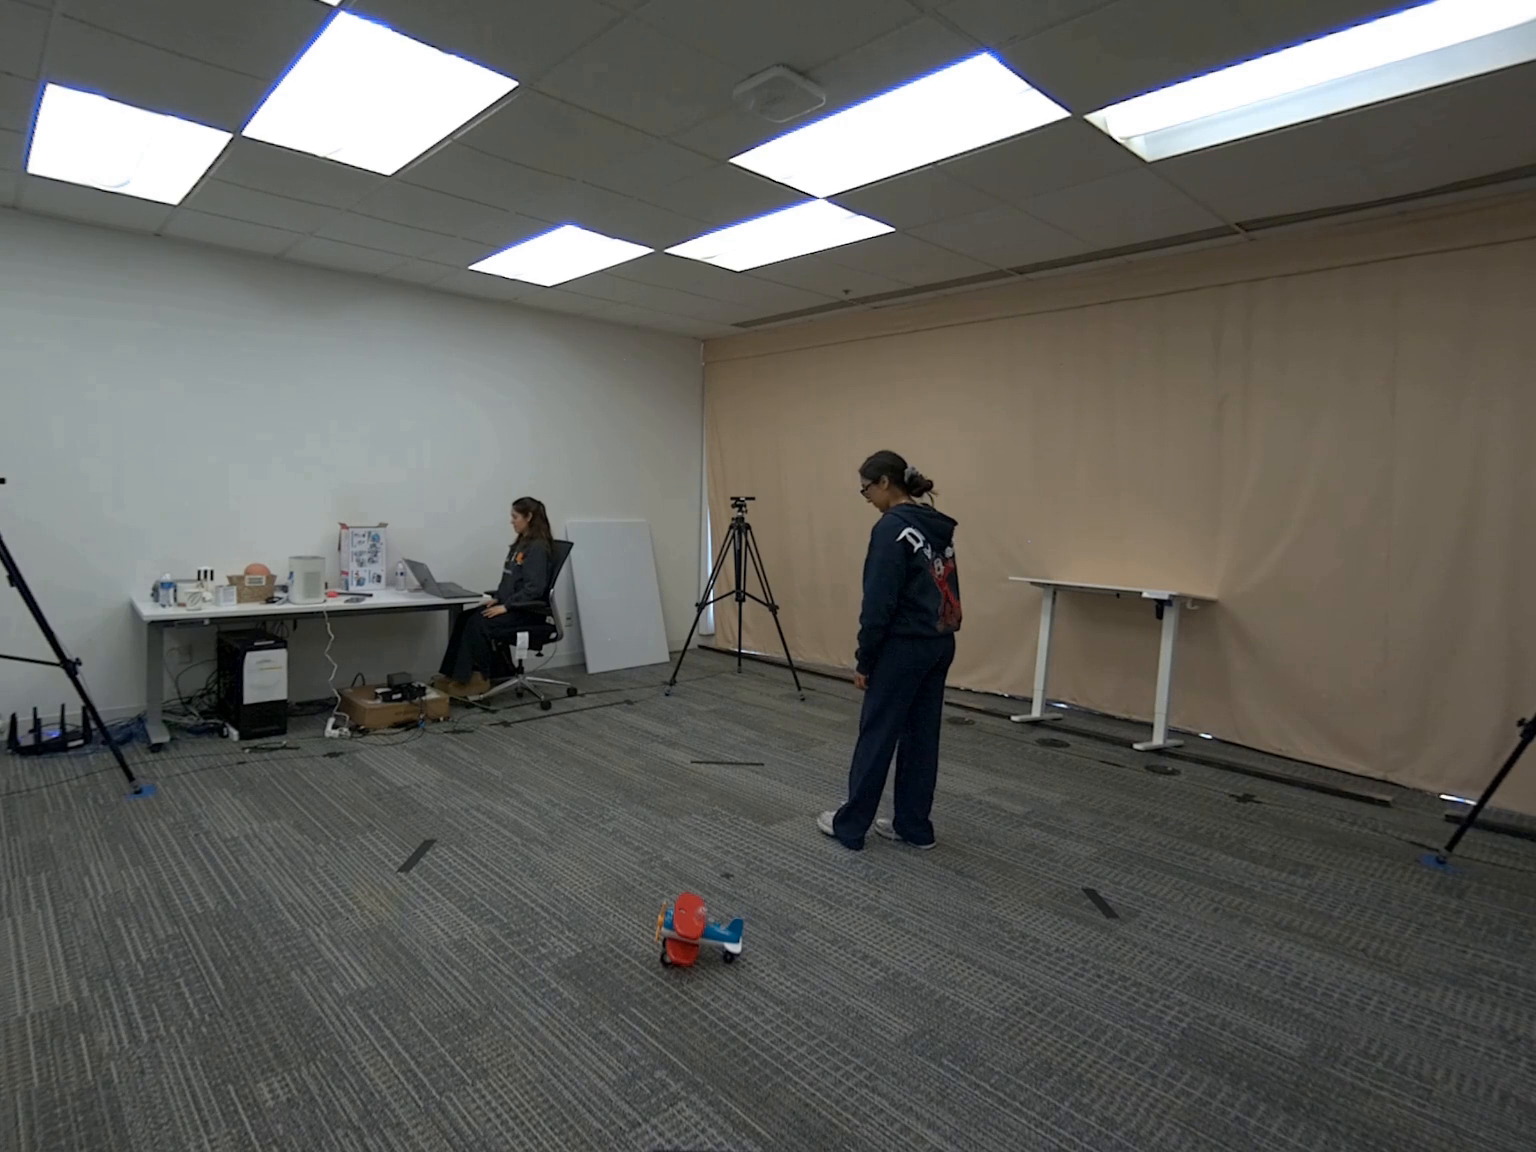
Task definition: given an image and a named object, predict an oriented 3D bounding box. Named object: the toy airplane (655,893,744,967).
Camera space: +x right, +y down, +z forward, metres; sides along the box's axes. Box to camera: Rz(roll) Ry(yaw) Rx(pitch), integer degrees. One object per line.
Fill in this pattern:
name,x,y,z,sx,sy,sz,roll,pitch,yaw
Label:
toy airplane,-0.214,1.082,2.550,0.254,0.156,0.257,-2,6,-28
